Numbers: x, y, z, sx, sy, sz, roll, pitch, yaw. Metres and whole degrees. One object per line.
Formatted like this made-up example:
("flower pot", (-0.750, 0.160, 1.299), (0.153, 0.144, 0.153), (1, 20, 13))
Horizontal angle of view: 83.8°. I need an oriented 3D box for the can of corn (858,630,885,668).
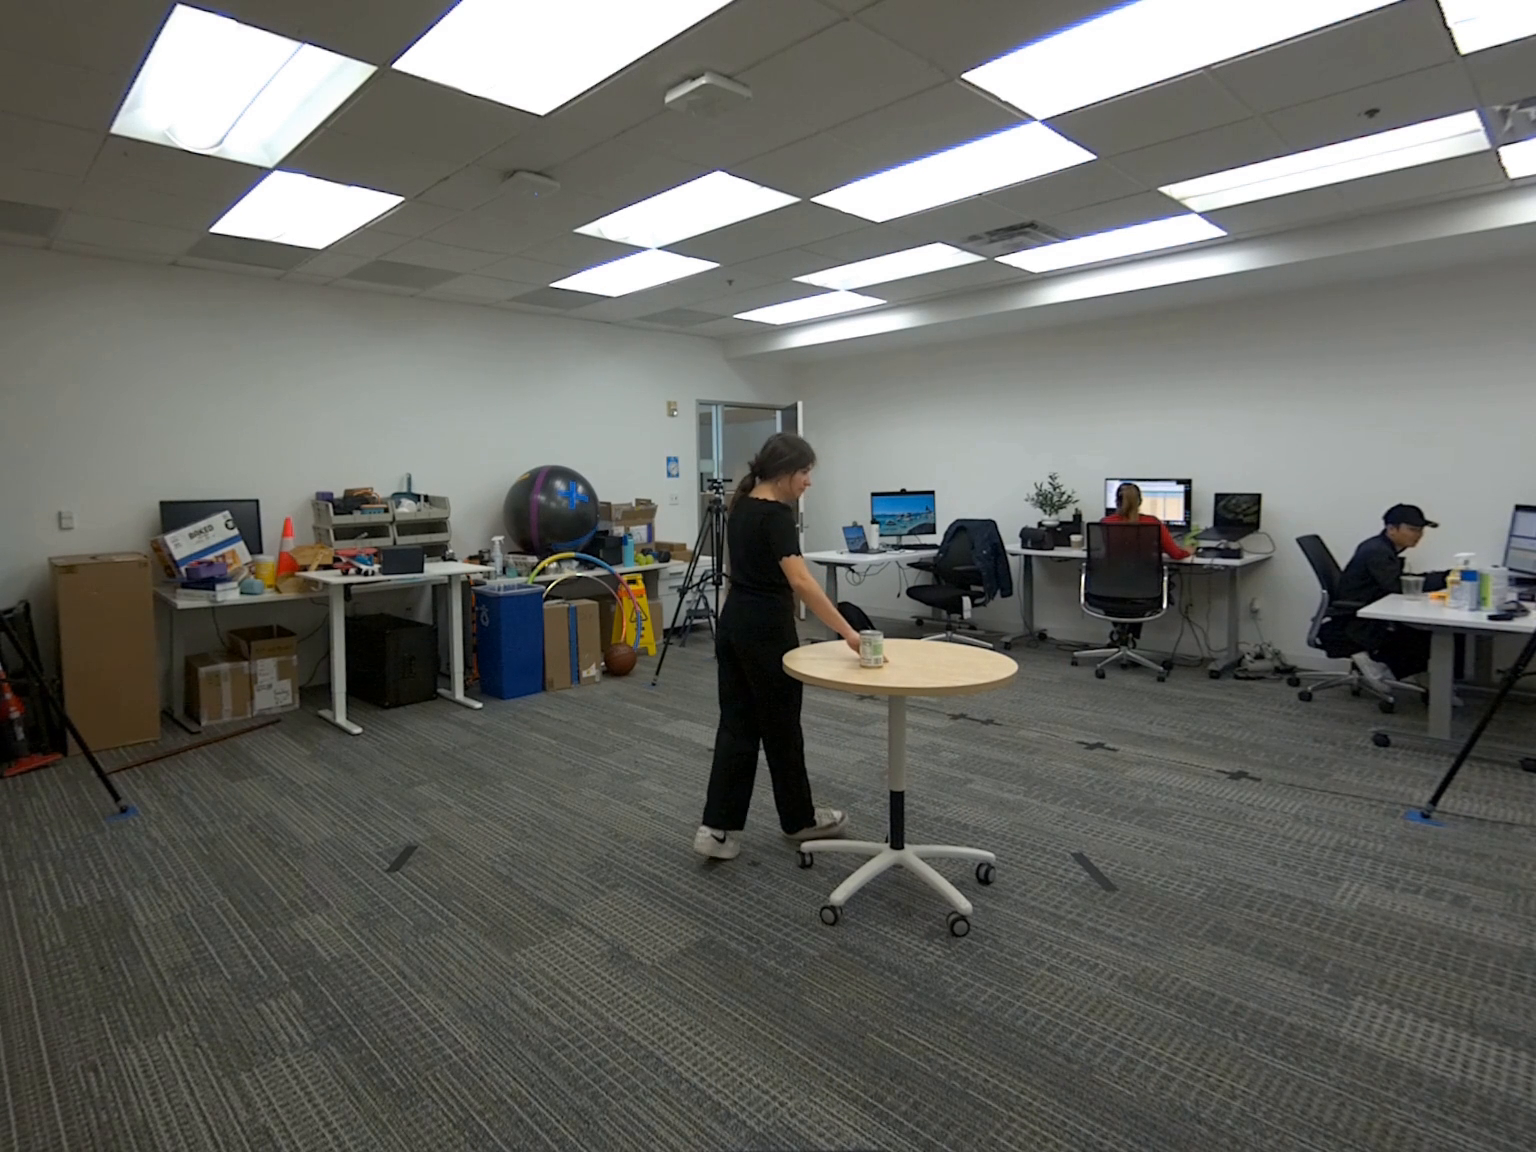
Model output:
("can of corn", (0.335, 0.237, 2.750), (0.074, 0.110, 0.074), (-4, 5, -1))
